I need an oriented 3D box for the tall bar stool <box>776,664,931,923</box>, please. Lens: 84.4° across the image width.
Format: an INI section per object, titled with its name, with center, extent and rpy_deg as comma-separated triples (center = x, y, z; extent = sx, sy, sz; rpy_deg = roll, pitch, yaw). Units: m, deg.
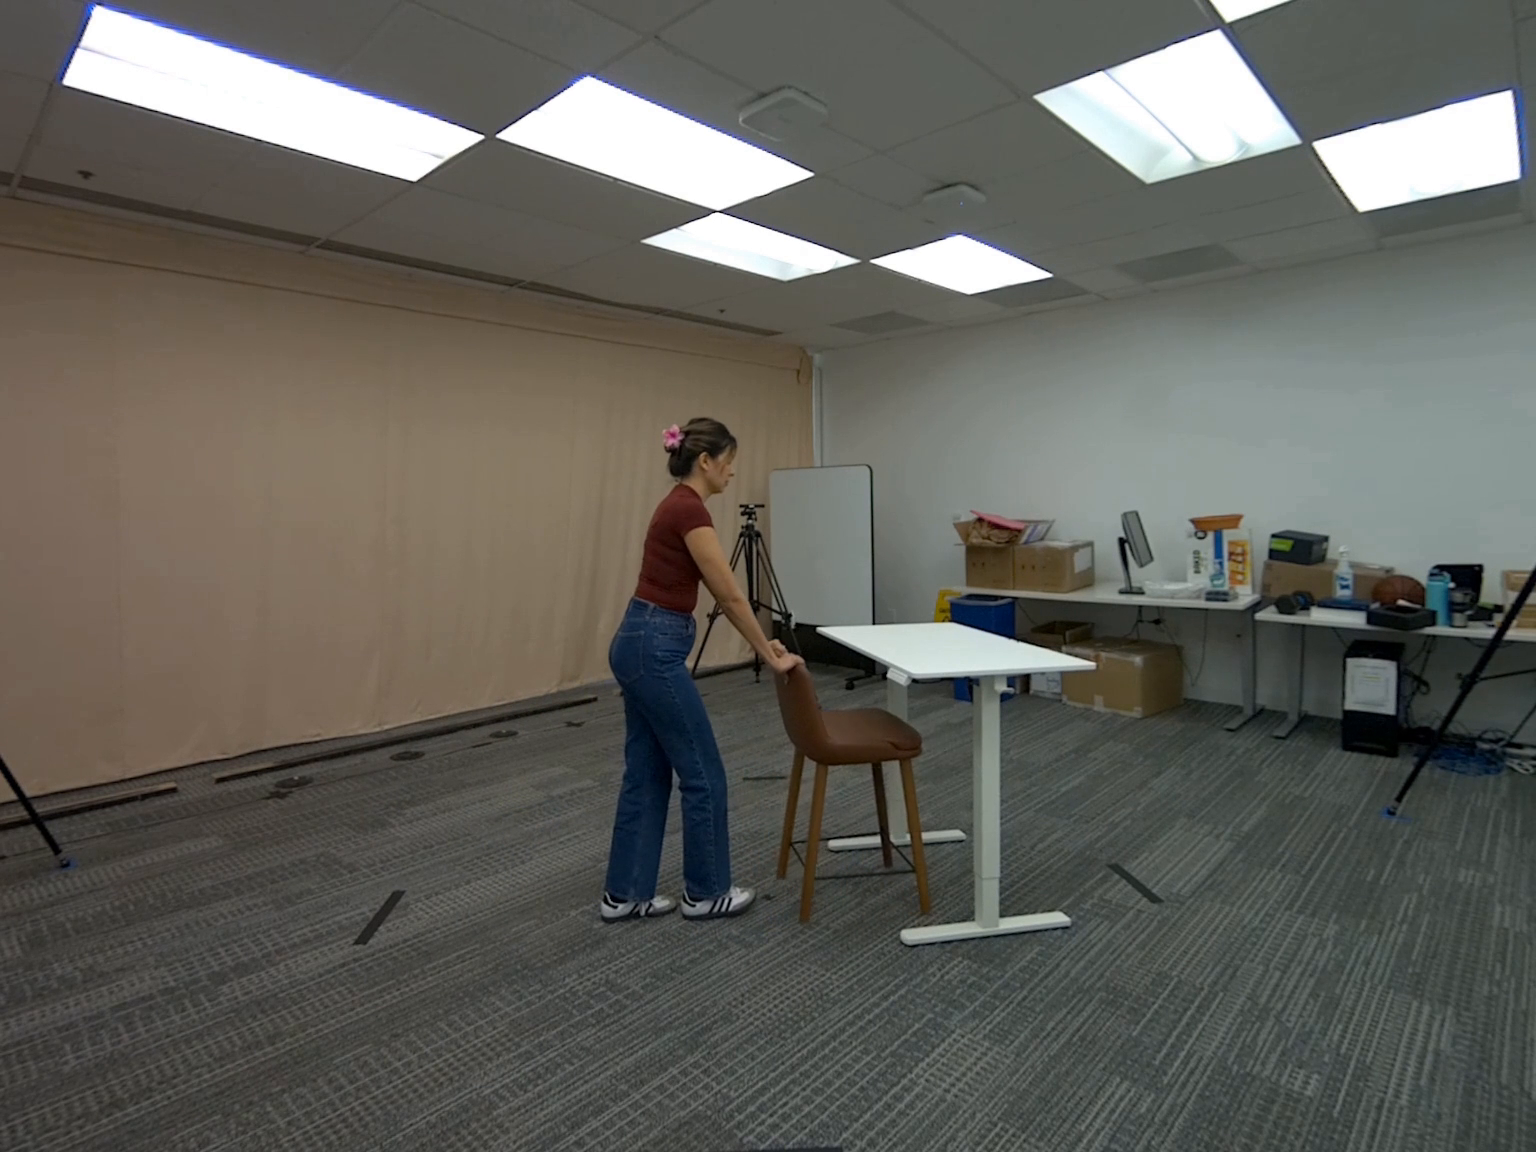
[tall bar stool]
center = 0.275, 0.696, 2.975
extent = 0.463, 0.887, 0.462
rpy_deg = -4, 4, -10
